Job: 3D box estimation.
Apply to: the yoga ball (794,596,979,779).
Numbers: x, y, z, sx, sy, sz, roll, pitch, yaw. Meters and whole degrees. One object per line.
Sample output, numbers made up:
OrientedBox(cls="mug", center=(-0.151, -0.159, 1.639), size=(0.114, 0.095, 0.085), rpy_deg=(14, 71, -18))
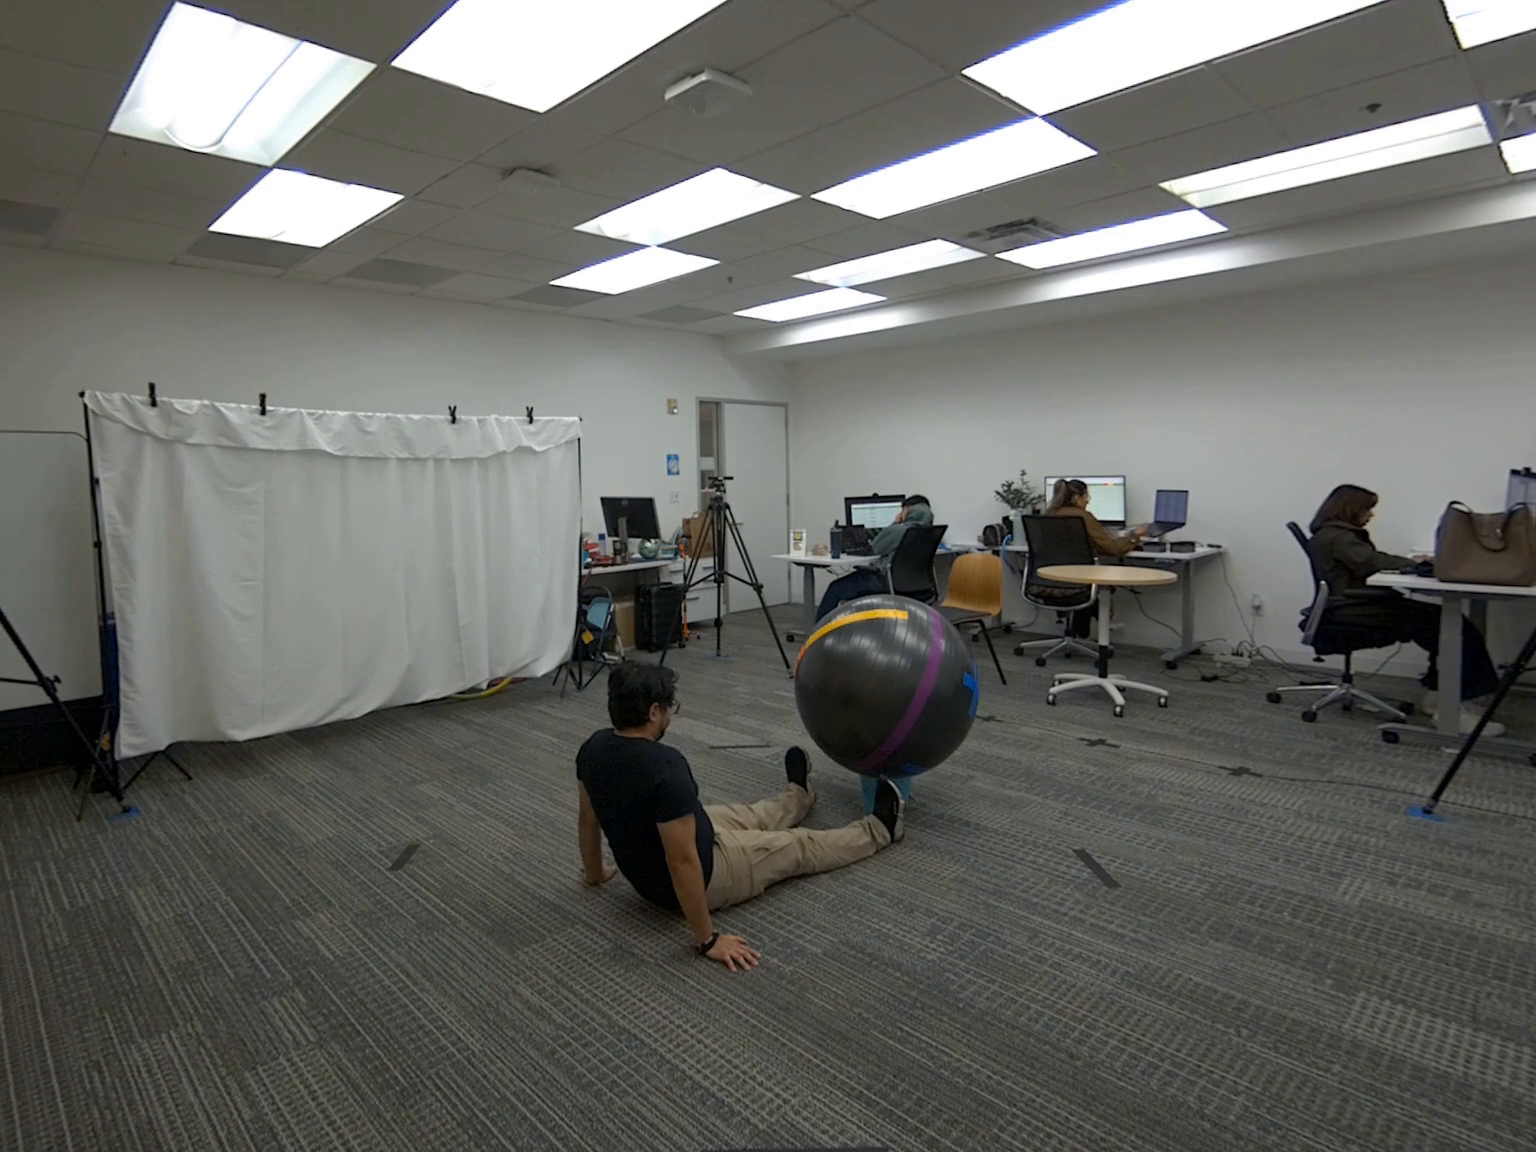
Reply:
OrientedBox(cls="yoga ball", center=(0.492, 0.464, 3.586), size=(0.757, 0.755, 0.762), rpy_deg=(-1, 5, -2))
